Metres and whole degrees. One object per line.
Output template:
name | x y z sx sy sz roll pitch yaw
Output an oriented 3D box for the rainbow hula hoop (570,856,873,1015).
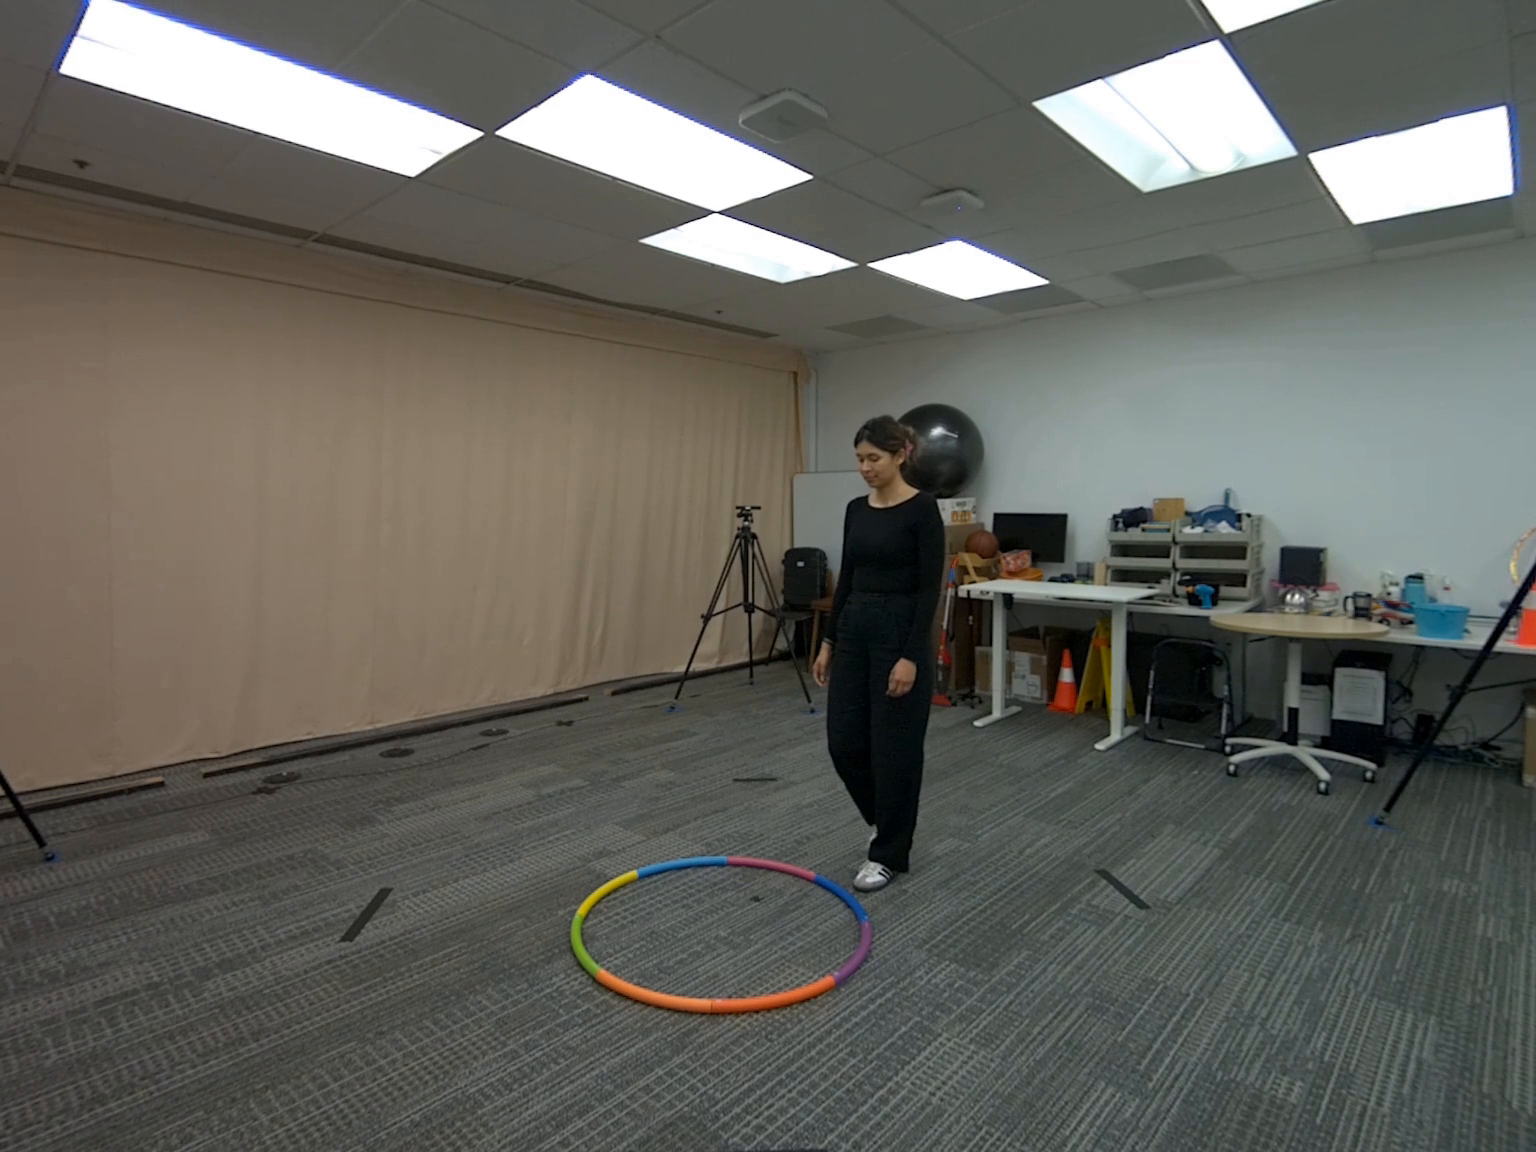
rainbow hula hoop | -0.156 1.135 2.790 0.978 0.035 0.982 0 4 -2
